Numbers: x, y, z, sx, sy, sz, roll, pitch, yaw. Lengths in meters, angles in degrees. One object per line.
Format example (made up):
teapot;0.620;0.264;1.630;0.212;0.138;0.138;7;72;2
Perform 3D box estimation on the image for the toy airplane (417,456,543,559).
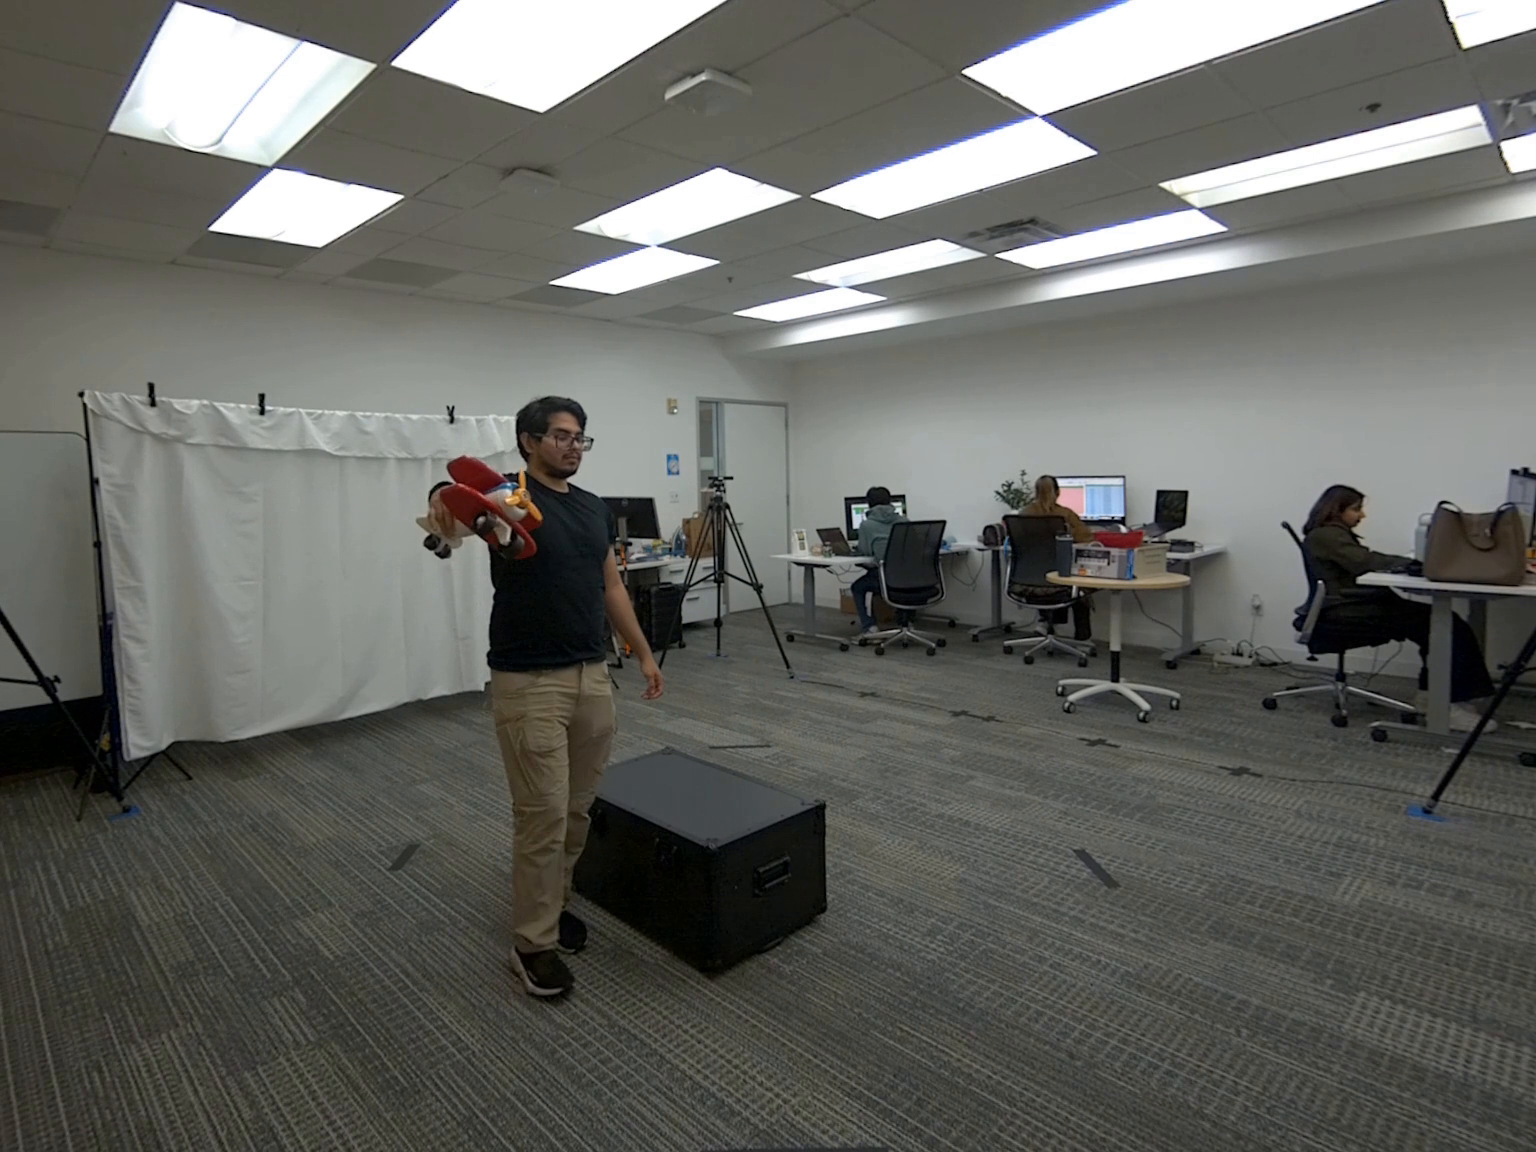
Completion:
toy airplane;-0.626;-0.130;1.813;0.262;0.159;0.245;11;-31;7
